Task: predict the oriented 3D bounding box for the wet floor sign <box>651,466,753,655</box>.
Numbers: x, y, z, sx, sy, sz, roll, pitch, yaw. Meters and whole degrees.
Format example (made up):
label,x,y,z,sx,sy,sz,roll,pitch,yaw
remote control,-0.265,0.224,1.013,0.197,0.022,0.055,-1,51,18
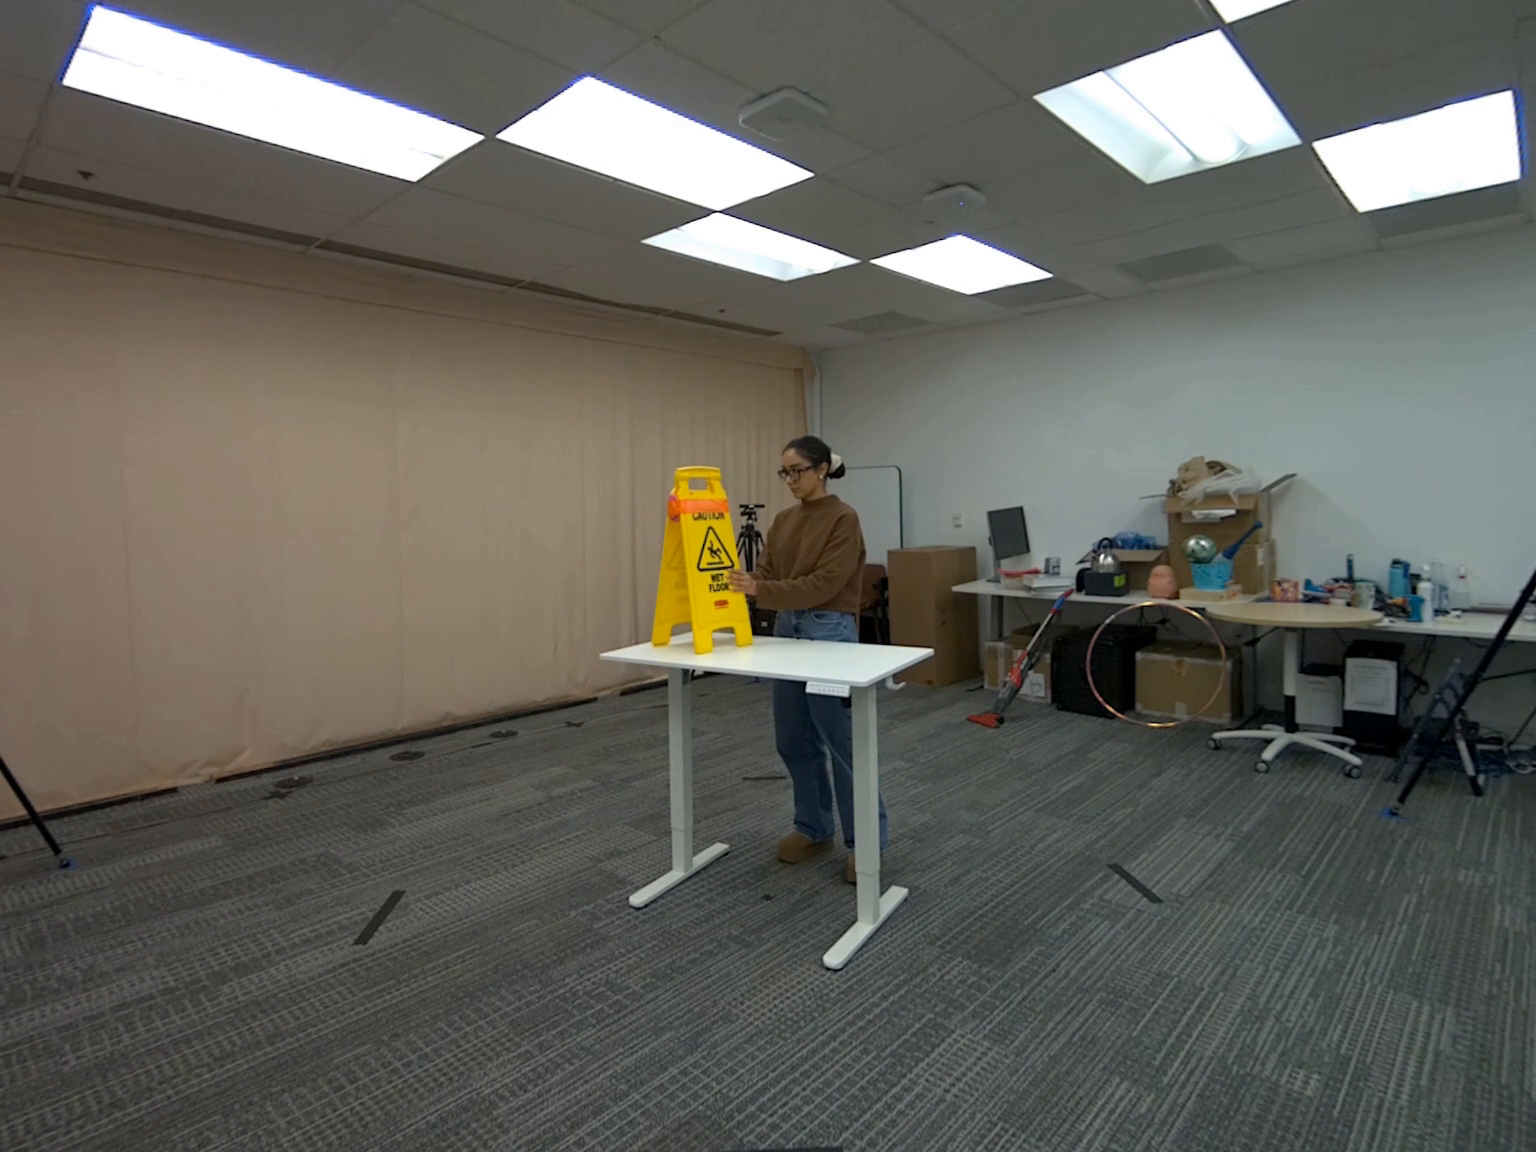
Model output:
label,x,y,z,sx,sy,sz,roll,pitch,yaw
wet floor sign,-0.242,-0.068,3.064,0.274,0.644,0.299,-5,5,-42
